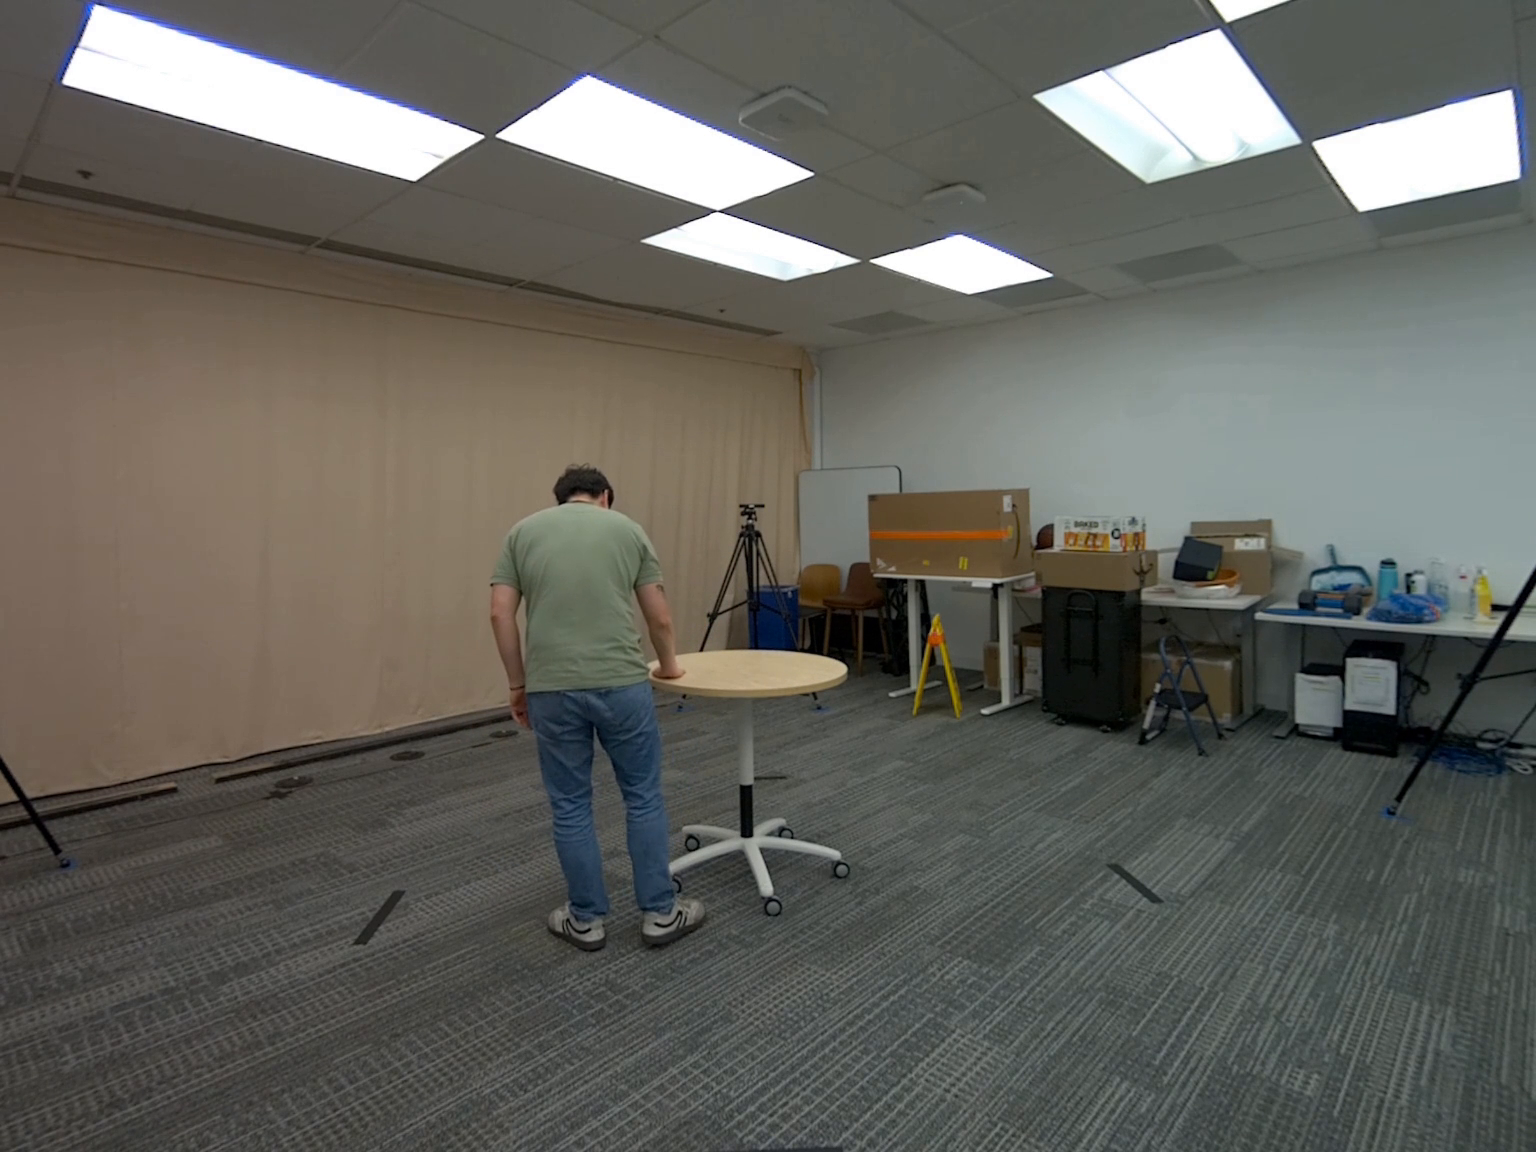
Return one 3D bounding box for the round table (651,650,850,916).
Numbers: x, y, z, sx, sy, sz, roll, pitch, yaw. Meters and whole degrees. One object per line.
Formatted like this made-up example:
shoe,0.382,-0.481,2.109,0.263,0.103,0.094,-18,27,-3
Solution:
round table,-0.077,0.736,3.172,0.763,0.792,0.767,-1,4,-2
